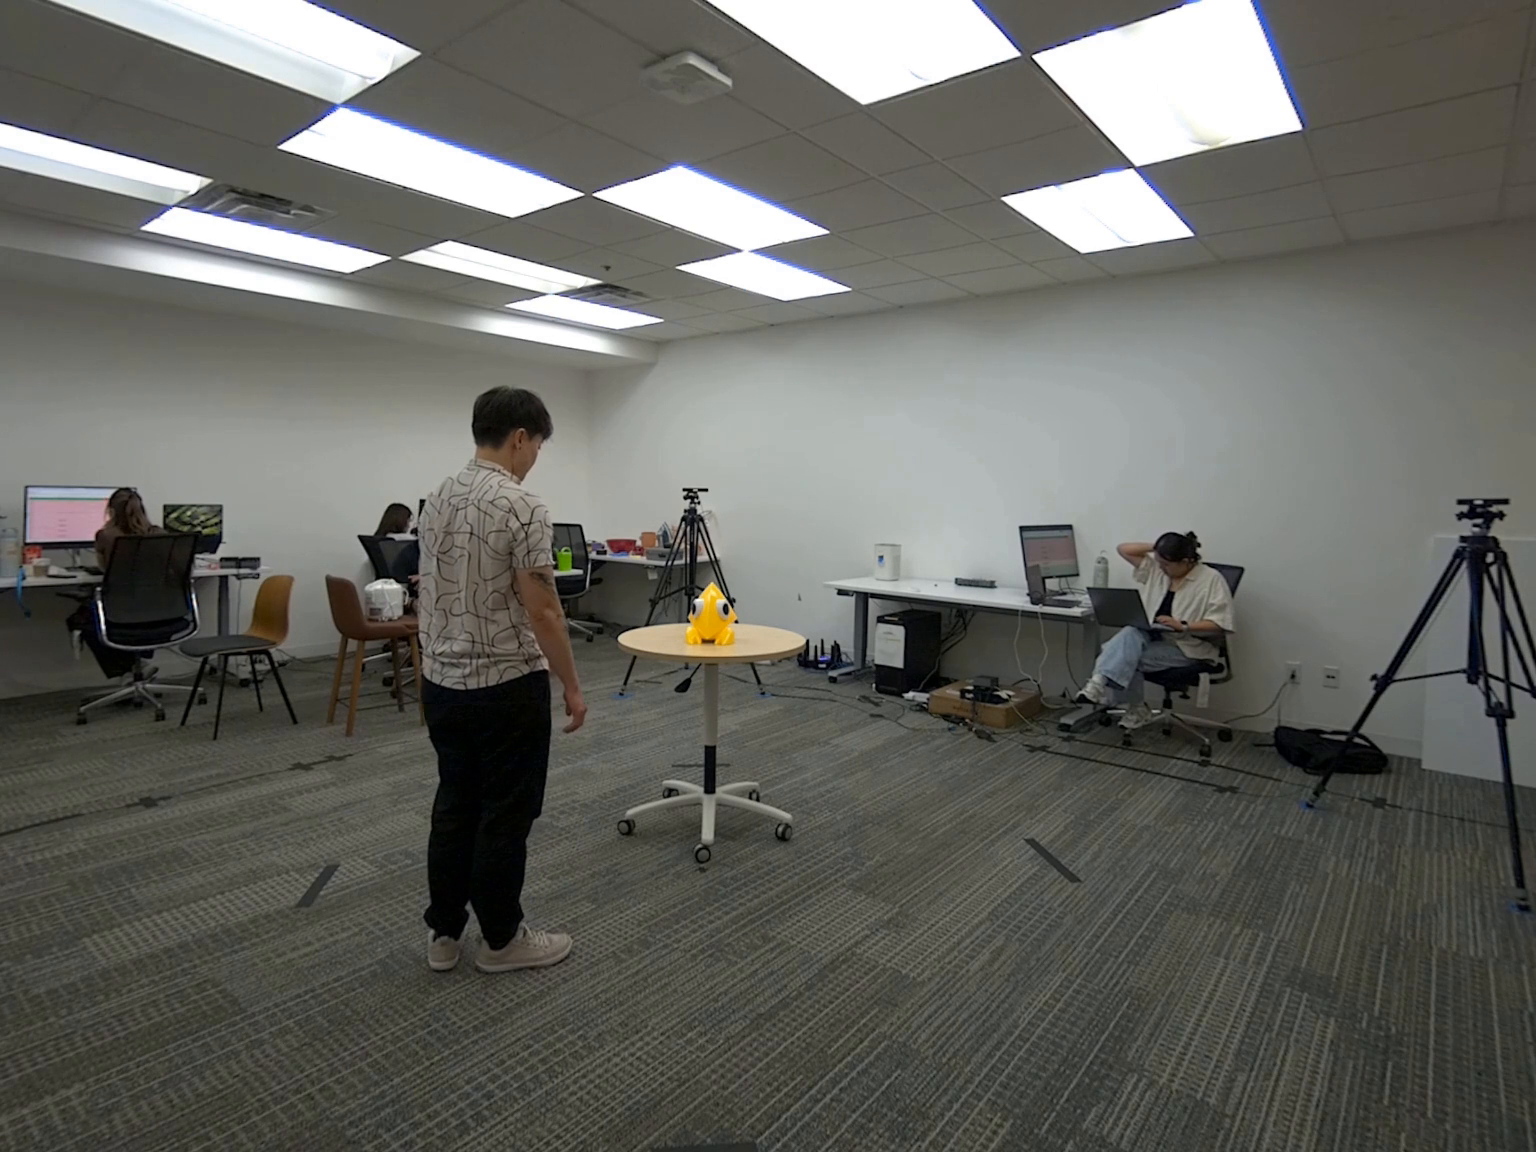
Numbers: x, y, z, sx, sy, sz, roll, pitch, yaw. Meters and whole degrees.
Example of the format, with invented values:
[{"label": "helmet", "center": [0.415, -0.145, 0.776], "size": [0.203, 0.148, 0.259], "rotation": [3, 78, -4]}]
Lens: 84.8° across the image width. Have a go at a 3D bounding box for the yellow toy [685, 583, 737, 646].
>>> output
[{"label": "yellow toy", "center": [-0.244, 0.144, 3.412], "size": [0.206, 0.230, 0.193], "rotation": [1, 4, 4]}]
